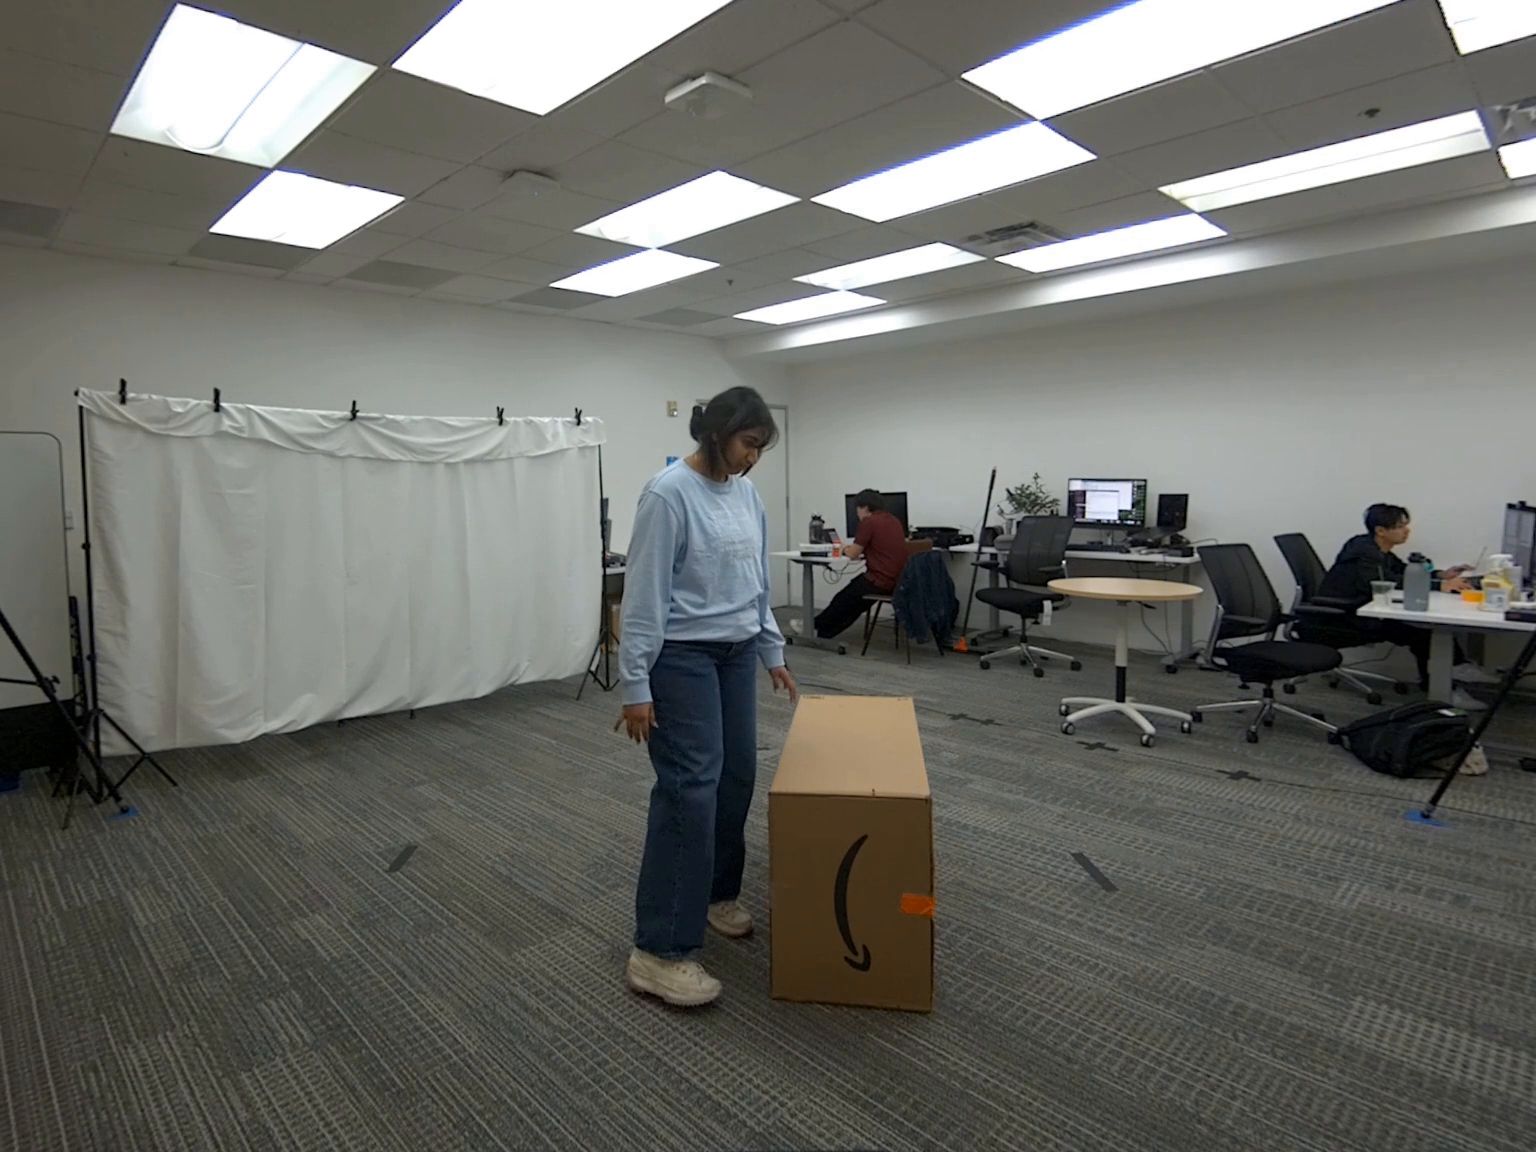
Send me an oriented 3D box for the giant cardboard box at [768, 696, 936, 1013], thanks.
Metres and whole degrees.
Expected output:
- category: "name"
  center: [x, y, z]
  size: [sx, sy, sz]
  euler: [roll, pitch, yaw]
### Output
- category: "giant cardboard box"
  center: [0.281, 0.790, 2.739]
  size: [0.430, 0.575, 1.022]
  euler: [0, 6, 7]
